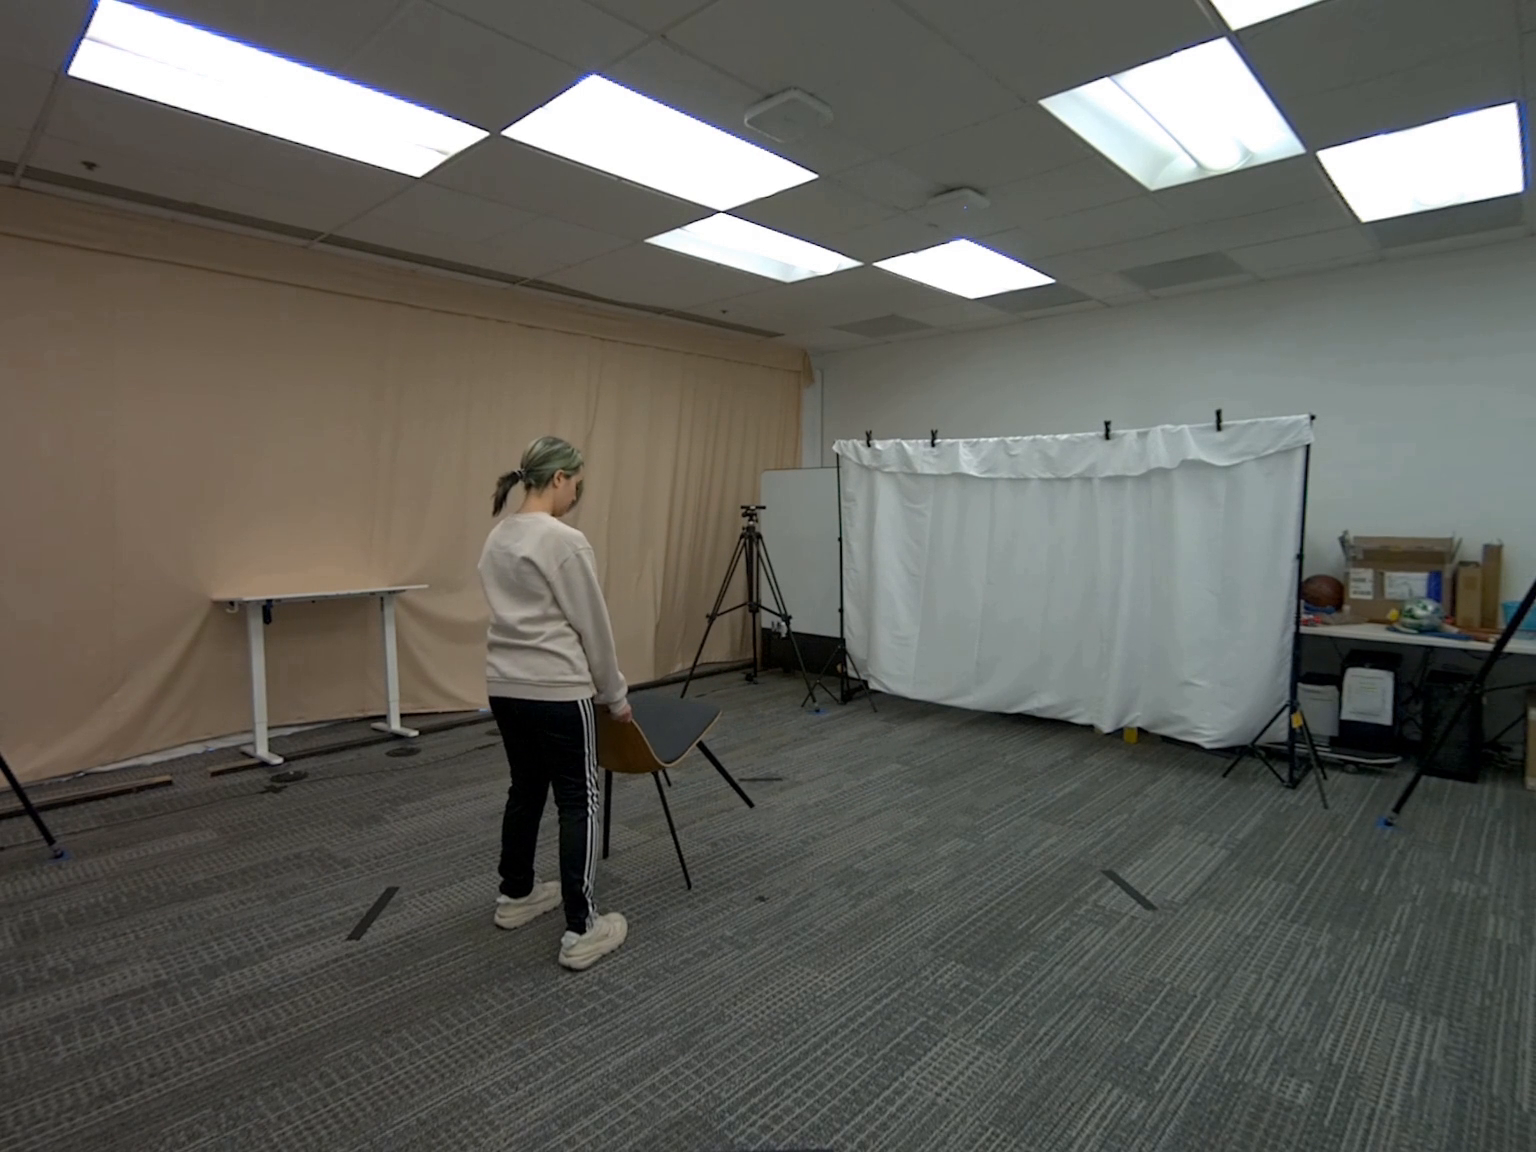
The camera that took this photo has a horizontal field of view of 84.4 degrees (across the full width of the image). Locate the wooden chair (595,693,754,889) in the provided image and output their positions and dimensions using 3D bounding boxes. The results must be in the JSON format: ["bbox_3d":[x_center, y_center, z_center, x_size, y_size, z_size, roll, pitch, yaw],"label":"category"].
[{"bbox_3d":[-0.449,0.644,3.194,0.493,0.858,0.518,2,33,36],"label":"wooden chair"}]
